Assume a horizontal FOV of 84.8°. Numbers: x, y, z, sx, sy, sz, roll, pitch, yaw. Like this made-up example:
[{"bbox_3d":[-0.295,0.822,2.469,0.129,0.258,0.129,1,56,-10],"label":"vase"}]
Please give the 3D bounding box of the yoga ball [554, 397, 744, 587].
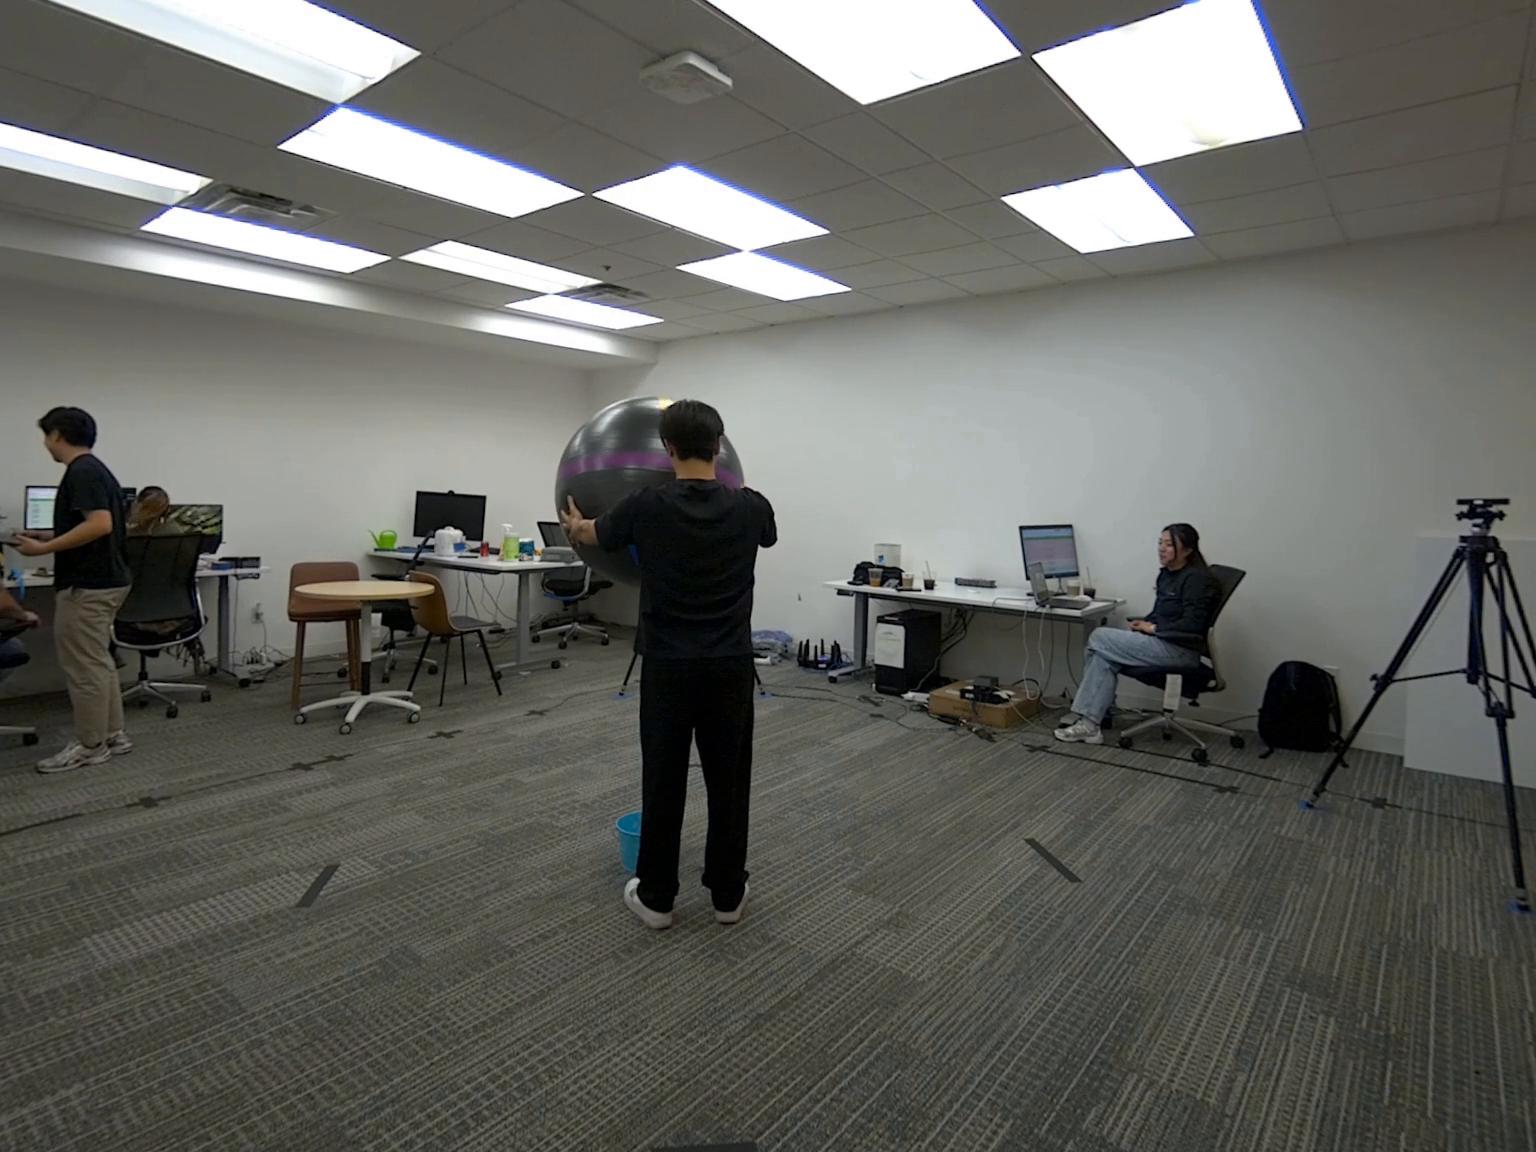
[{"bbox_3d":[-0.487,-0.324,3.391,0.757,0.755,0.762,1,4,-2],"label":"yoga ball"}]
